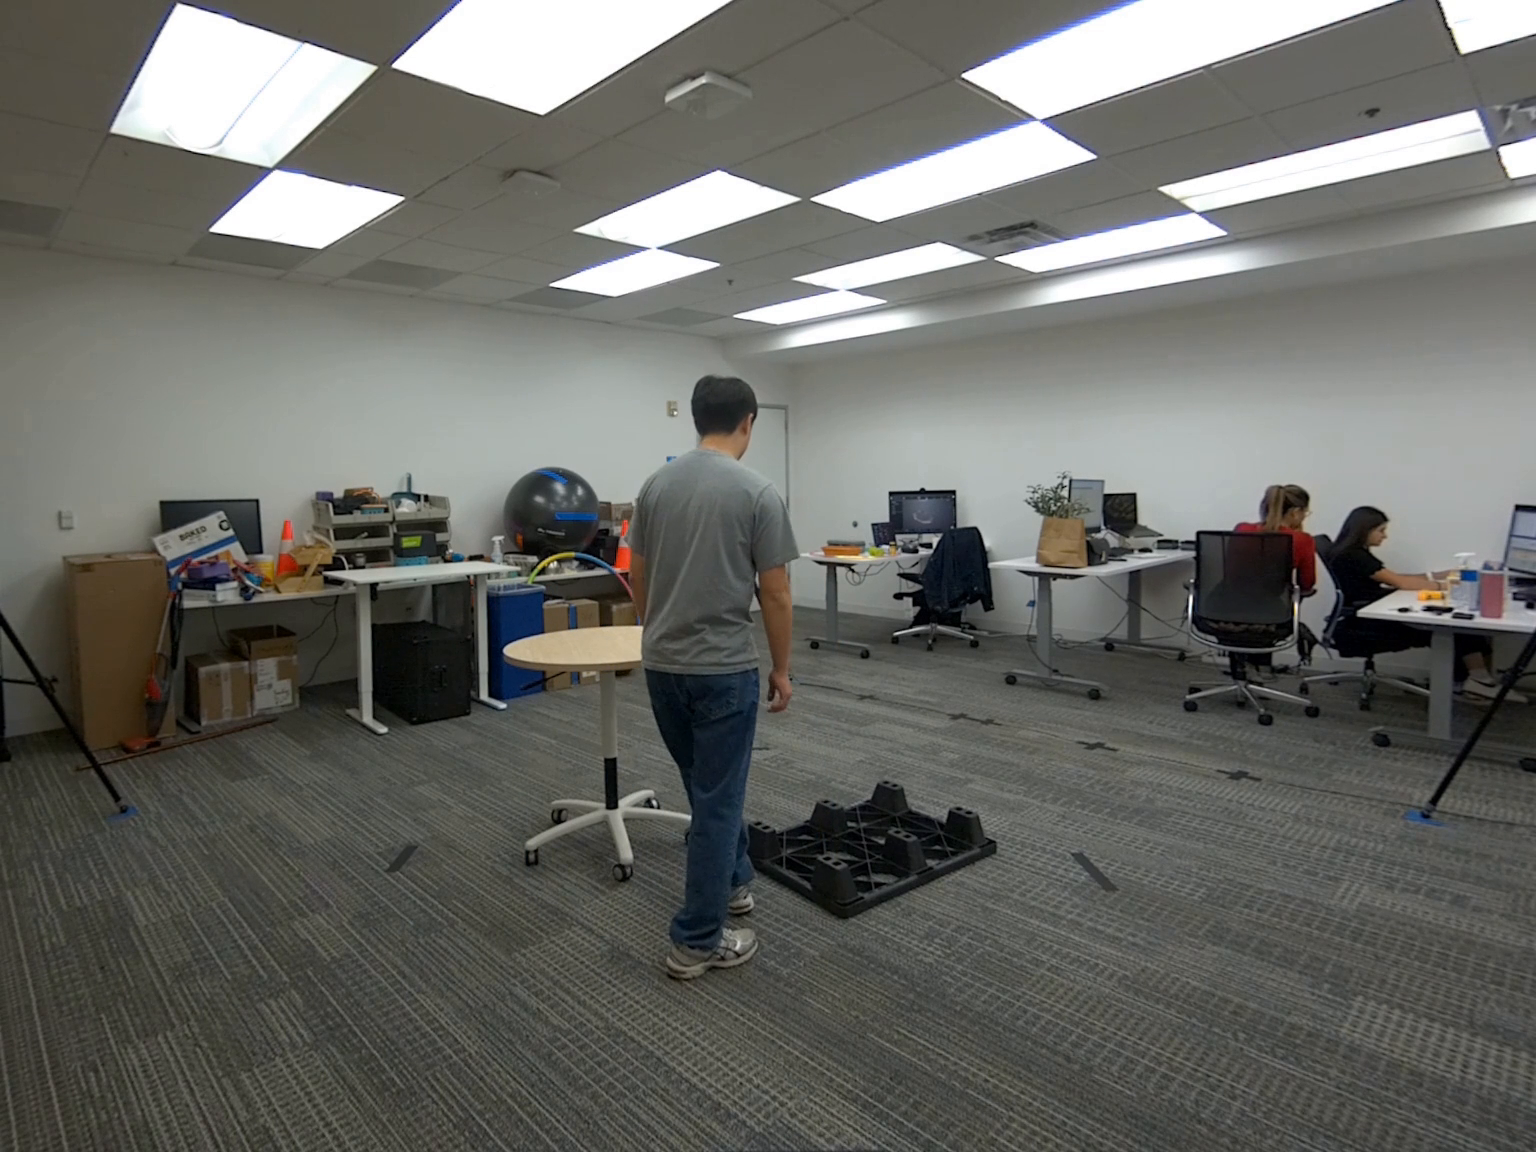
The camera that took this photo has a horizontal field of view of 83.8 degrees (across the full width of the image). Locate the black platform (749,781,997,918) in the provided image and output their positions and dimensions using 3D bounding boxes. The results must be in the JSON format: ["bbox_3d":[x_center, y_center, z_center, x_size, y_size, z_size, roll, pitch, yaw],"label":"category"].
[{"bbox_3d":[0.360,0.965,3.171,0.785,0.142,0.624,-6,8,-38],"label":"black platform"}]
